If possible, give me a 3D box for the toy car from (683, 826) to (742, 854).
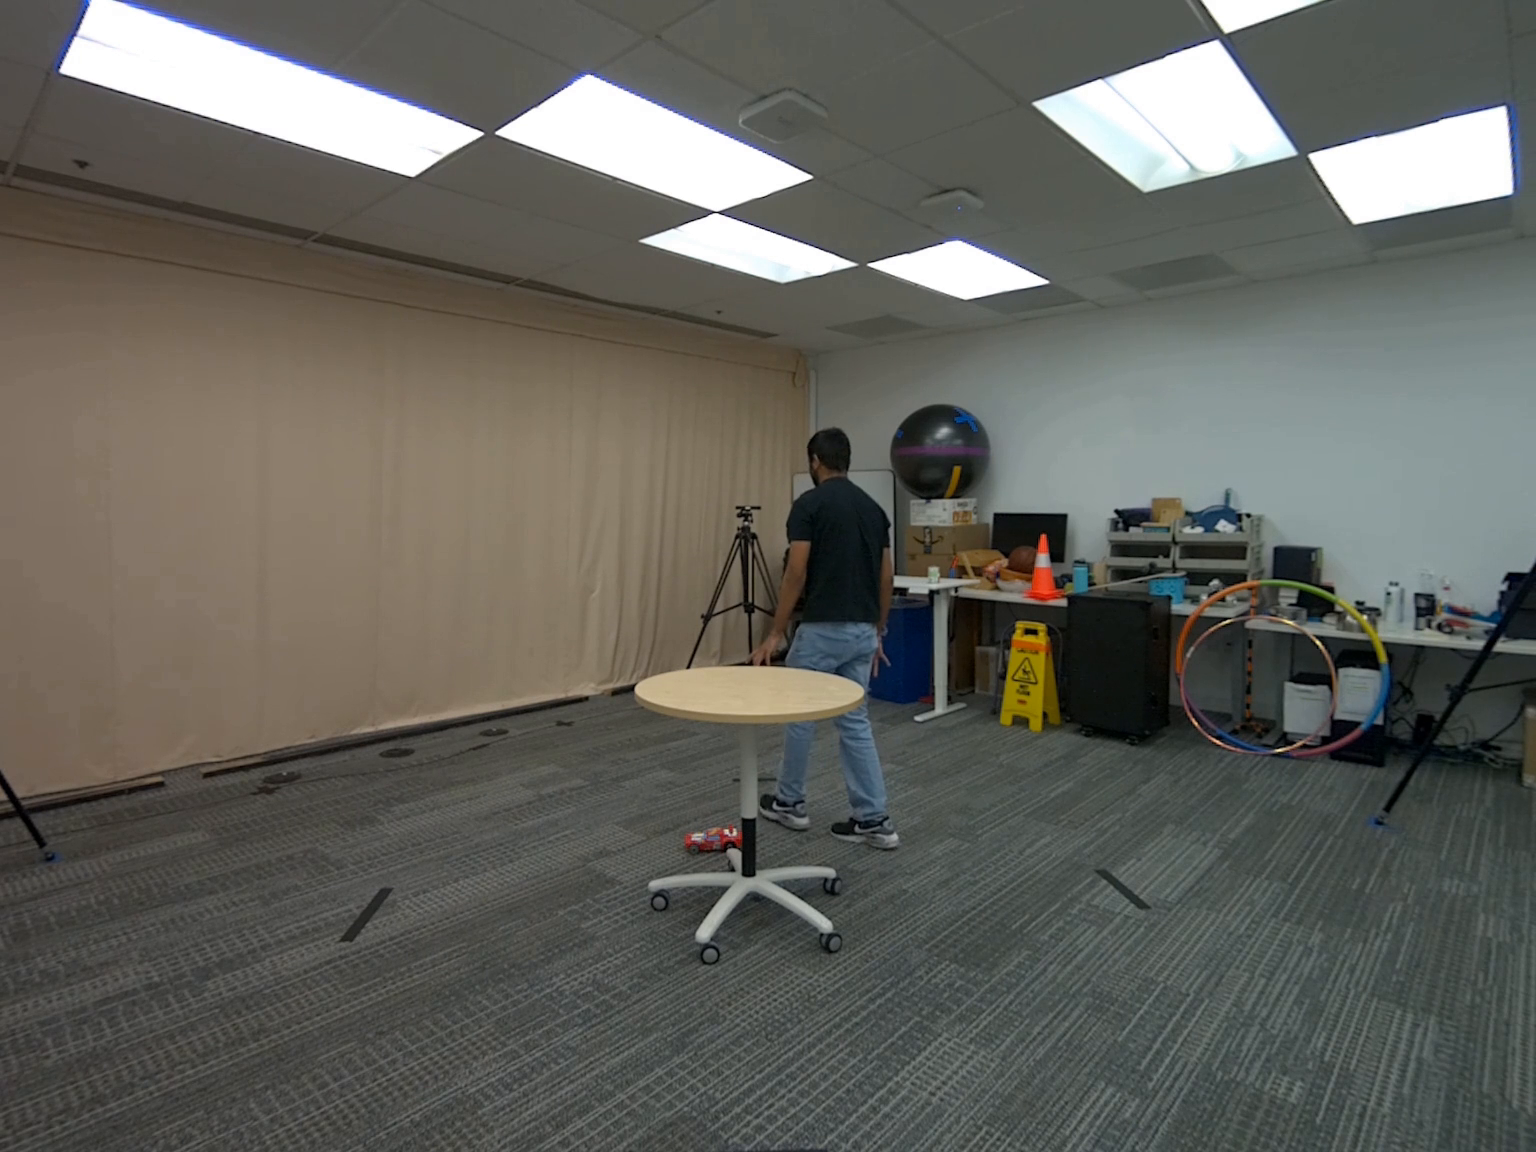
[{"bbox_3d":[-0.217,1.074,3.432,0.254,0.083,0.131,-11,6,-3],"label":"toy car"}]
